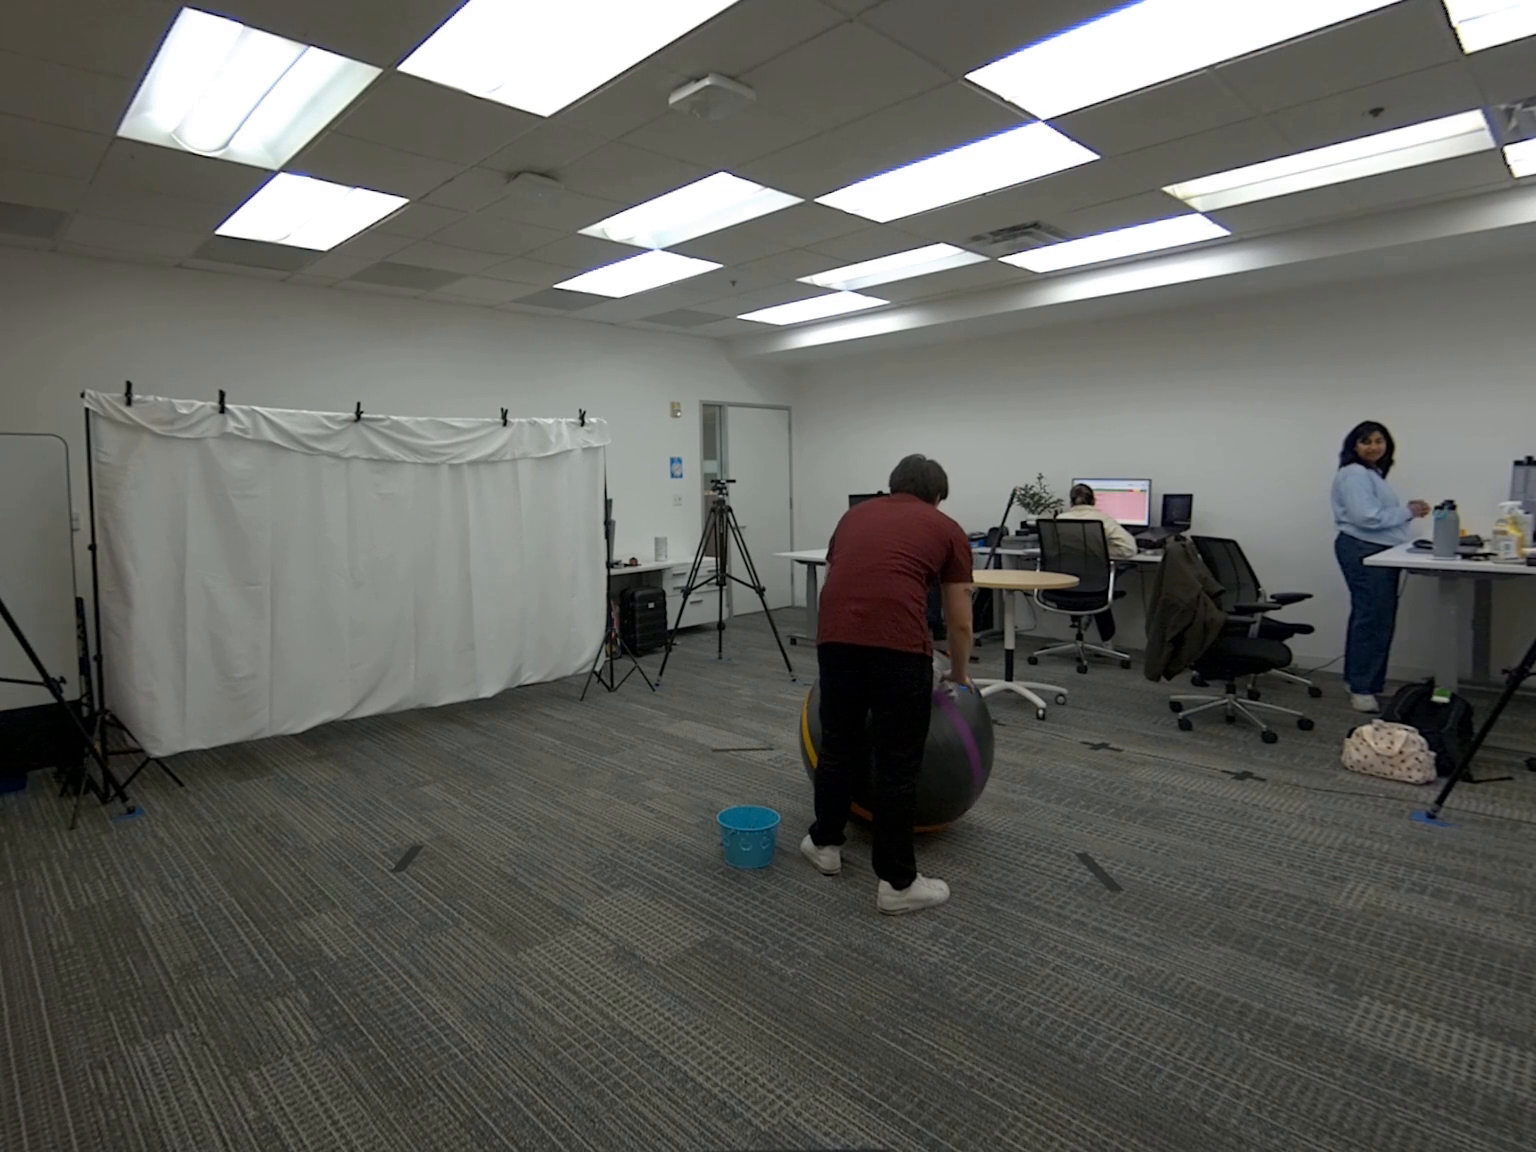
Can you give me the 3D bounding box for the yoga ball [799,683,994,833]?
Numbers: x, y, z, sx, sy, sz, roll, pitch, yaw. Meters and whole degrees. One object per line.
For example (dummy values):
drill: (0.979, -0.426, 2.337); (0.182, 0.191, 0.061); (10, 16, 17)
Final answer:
yoga ball: (0.512, 0.641, 3.409); (0.757, 0.755, 0.762); (-1, 5, -2)
